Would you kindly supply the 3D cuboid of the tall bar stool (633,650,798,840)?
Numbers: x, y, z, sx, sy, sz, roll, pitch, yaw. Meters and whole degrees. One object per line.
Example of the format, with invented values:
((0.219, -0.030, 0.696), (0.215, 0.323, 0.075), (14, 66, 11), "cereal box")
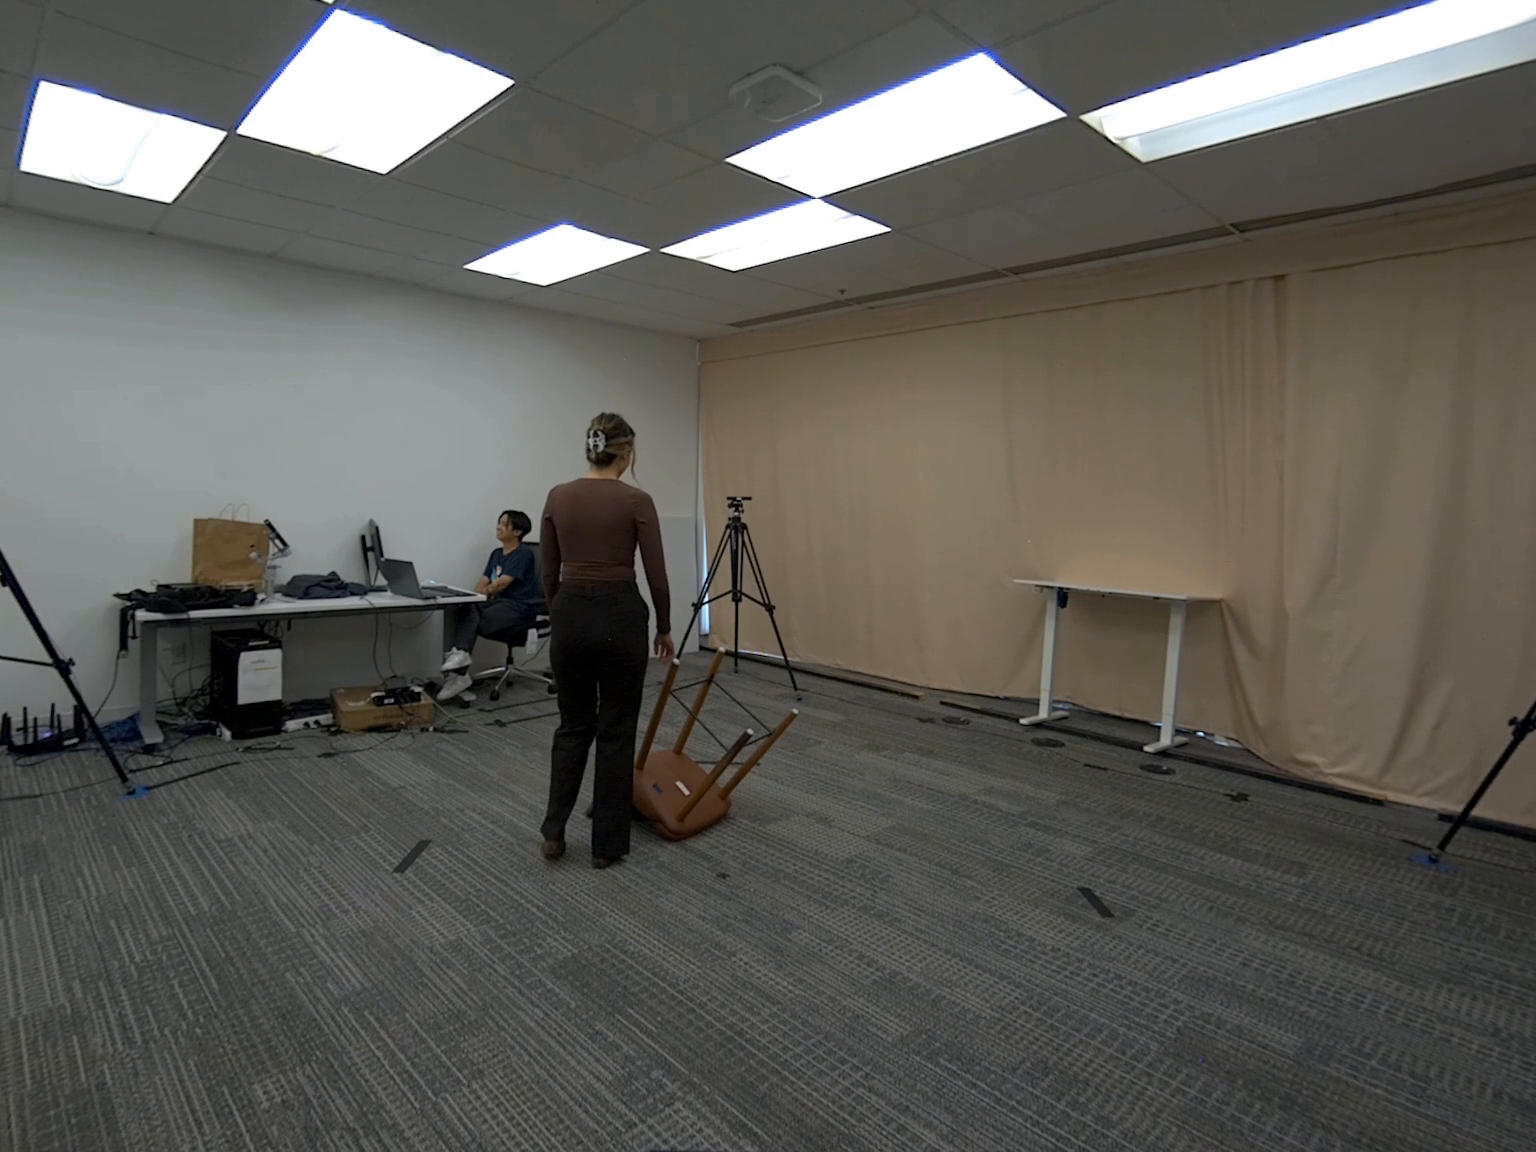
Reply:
((-0.353, 0.810, 3.591), (0.478, 0.886, 0.447), (41, 21, 22), "tall bar stool")
